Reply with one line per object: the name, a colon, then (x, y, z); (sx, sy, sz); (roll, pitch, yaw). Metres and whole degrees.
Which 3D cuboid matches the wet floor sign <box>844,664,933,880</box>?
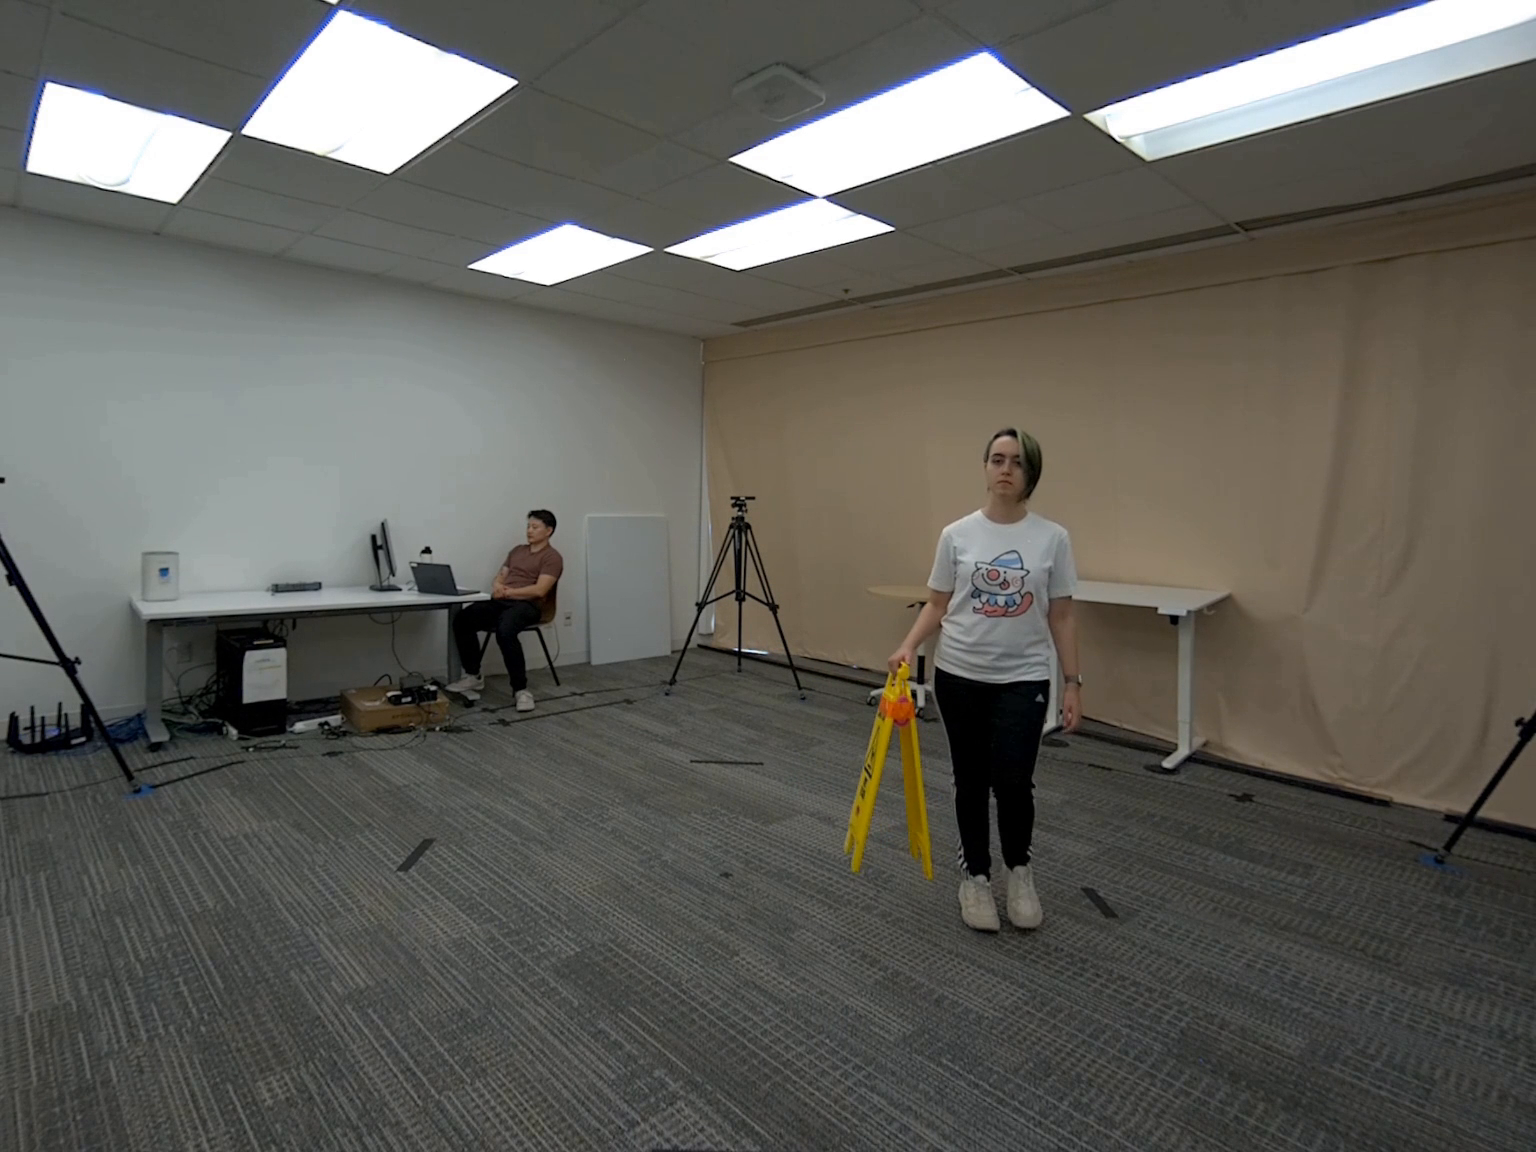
wet floor sign: (0.404, 0.611, 2.738); (0.290, 0.648, 0.281); (3, -4, 1)
